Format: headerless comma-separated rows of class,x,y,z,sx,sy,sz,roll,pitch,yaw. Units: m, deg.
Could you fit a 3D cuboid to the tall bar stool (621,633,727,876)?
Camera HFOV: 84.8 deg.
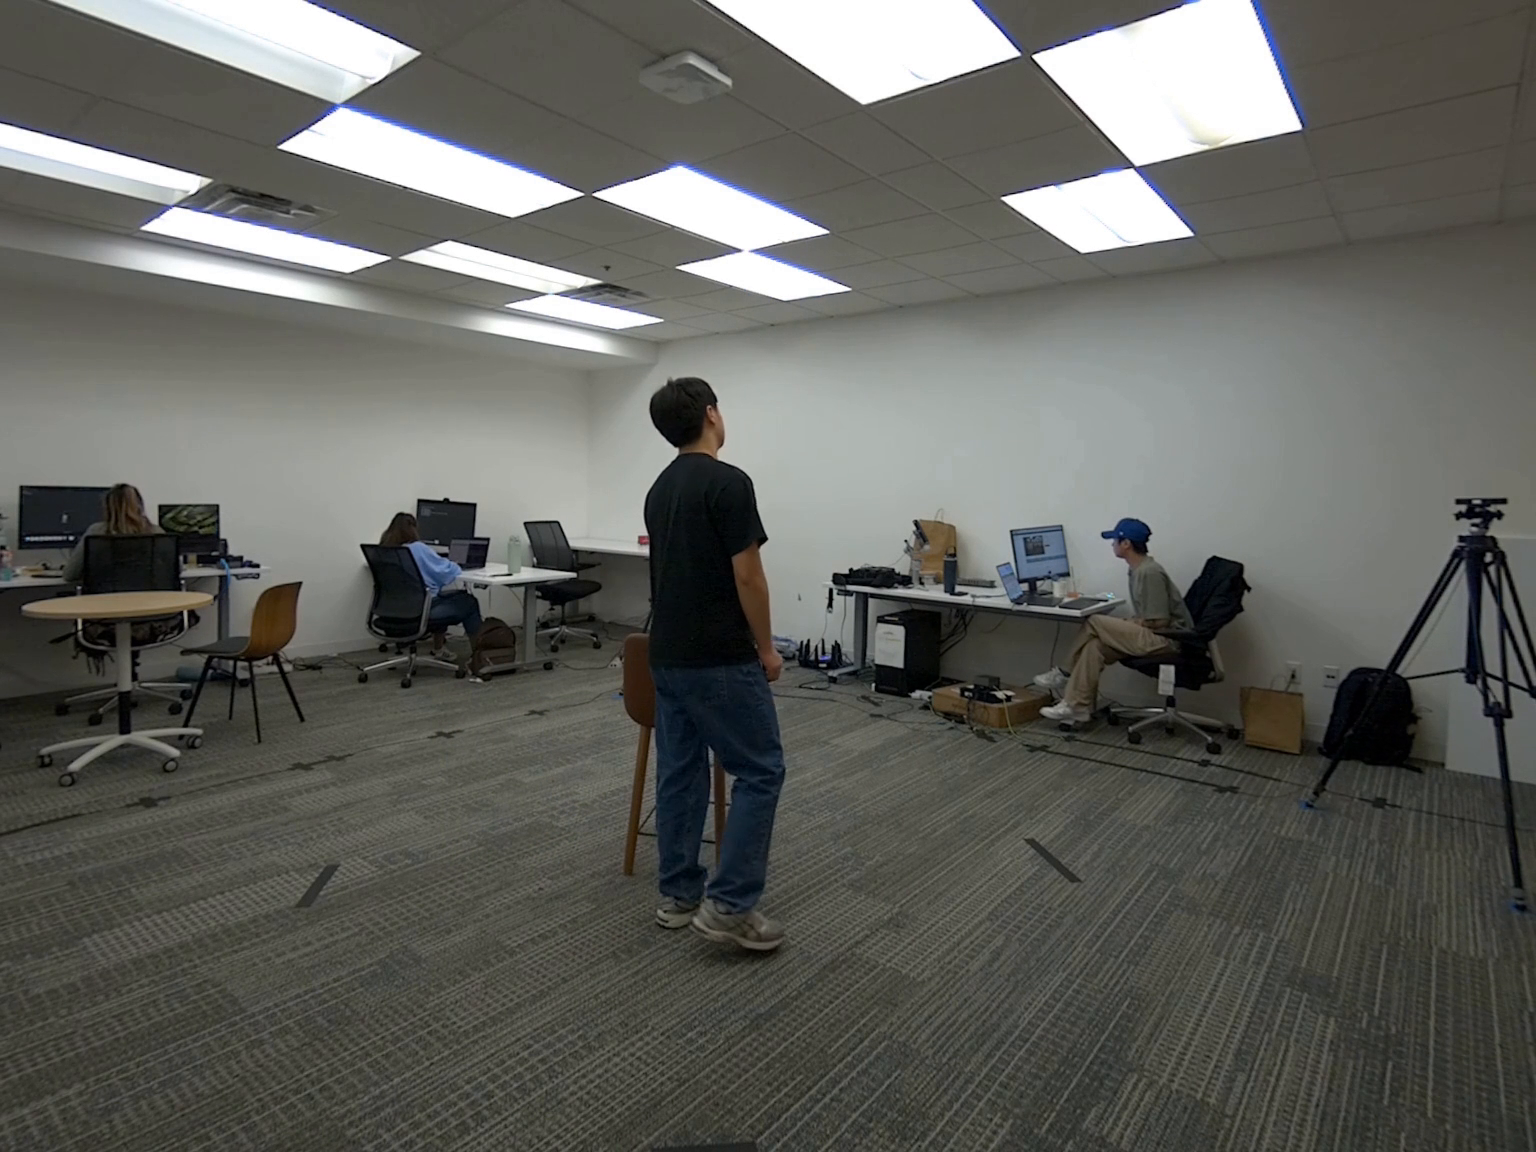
tall bar stool,-0.303,0.621,3.195,0.464,0.886,0.462,2,5,14
